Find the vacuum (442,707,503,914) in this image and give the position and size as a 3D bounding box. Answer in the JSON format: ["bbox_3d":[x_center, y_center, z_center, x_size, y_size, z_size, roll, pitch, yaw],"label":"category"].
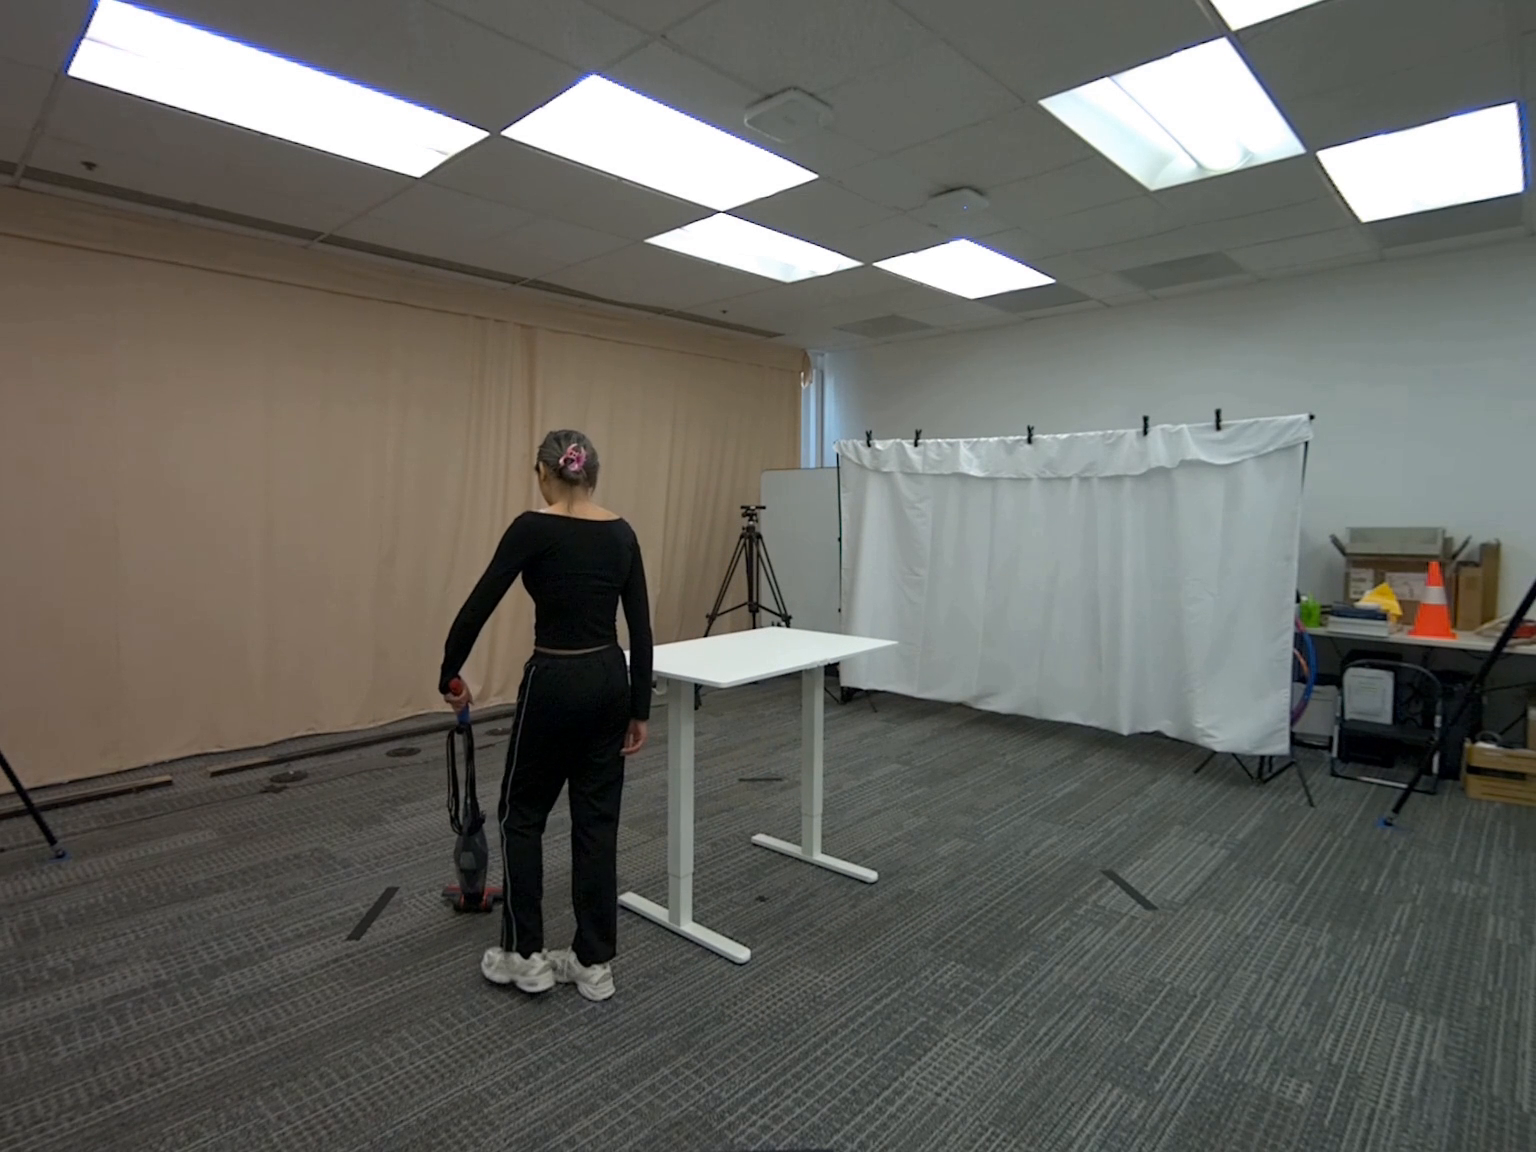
[{"bbox_3d":[-0.956,0.726,2.668,0.251,1.036,0.146,7,36,-4],"label":"vacuum"}]
